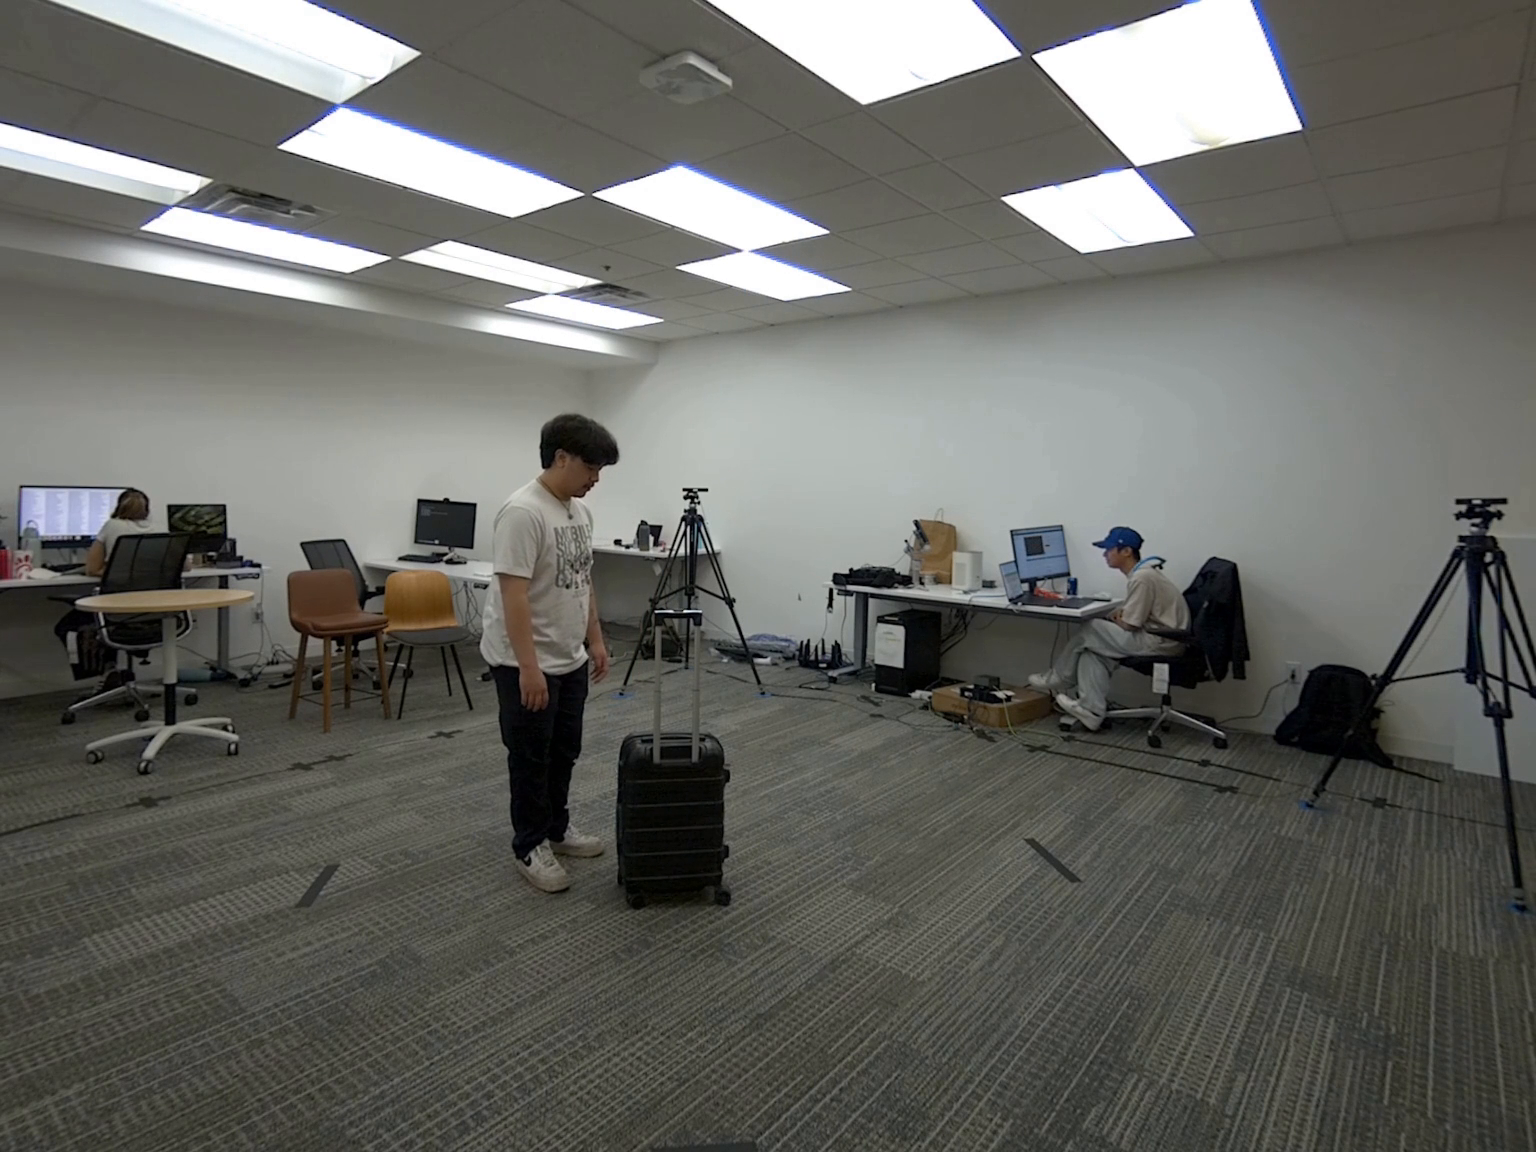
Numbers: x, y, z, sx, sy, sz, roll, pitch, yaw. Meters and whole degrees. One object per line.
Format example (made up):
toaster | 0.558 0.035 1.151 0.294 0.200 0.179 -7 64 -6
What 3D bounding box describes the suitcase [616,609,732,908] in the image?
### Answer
suitcase | -0.339 0.609 2.908 0.380 0.979 0.259 0 0 -9
